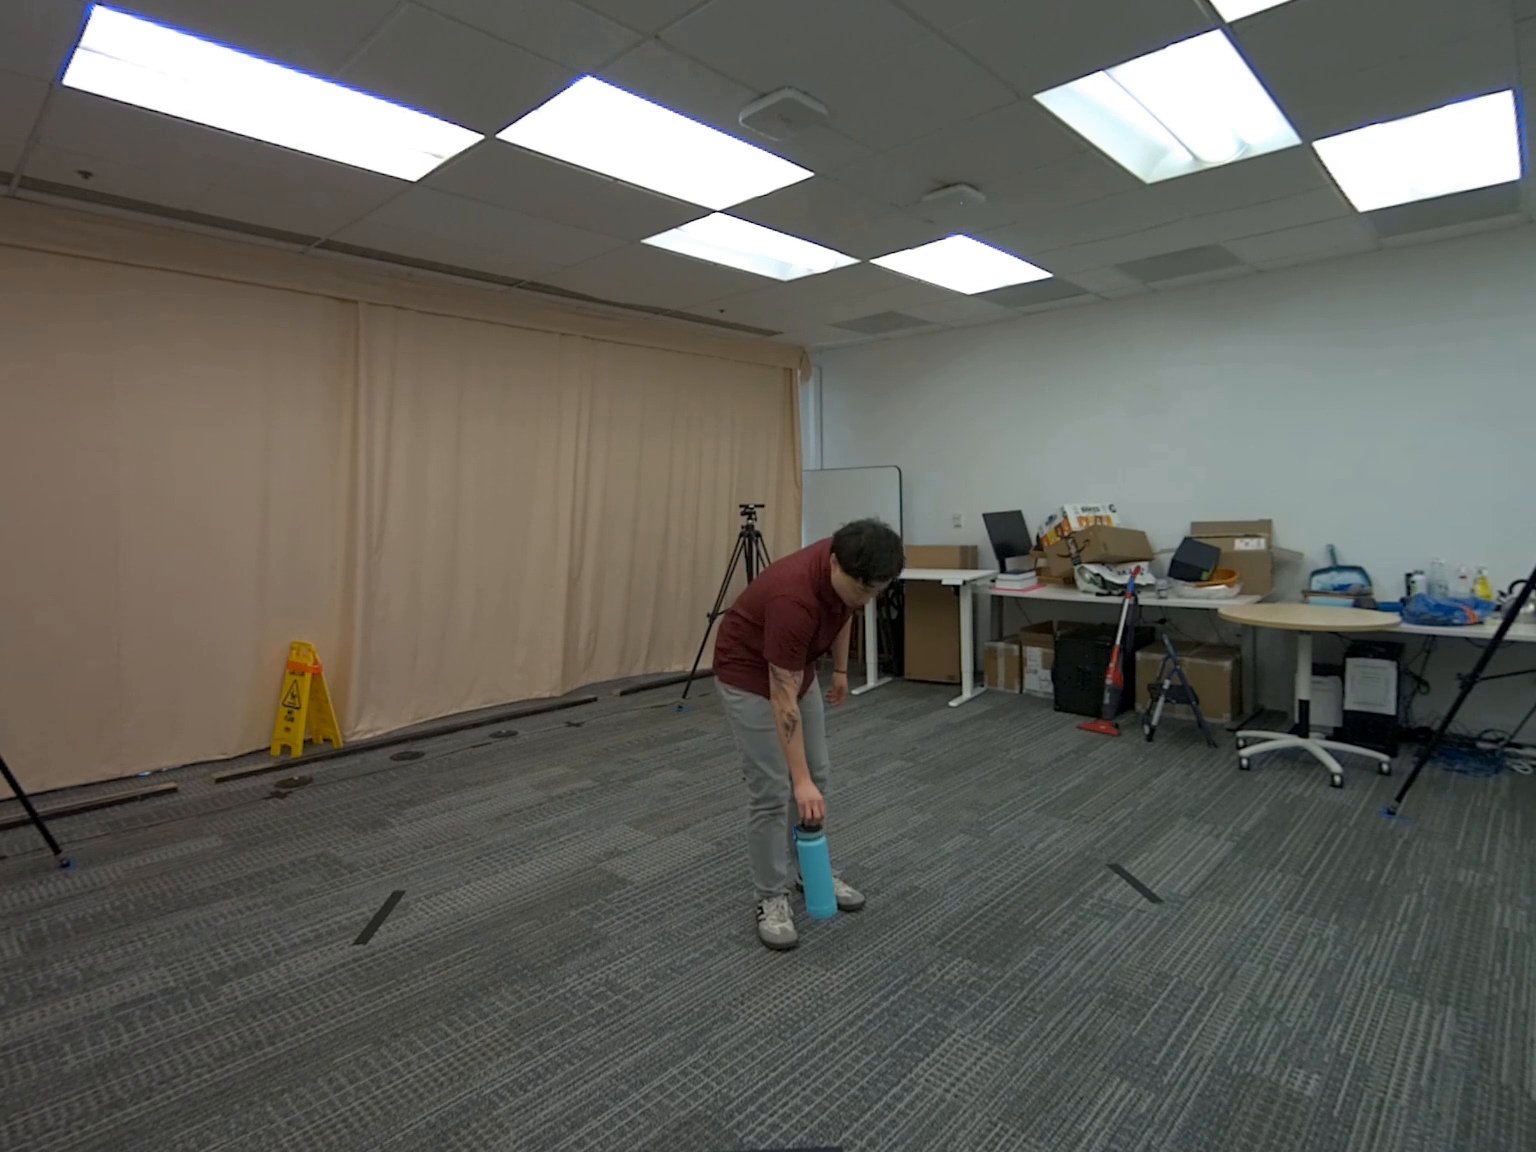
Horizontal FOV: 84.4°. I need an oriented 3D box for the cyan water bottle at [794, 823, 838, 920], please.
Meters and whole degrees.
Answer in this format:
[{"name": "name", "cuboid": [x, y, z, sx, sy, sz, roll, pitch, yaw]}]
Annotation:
[{"name": "cyan water bottle", "cuboid": [0.140, 0.847, 2.495, 0.092, 0.283, 0.092, -11, 2, -1]}]
